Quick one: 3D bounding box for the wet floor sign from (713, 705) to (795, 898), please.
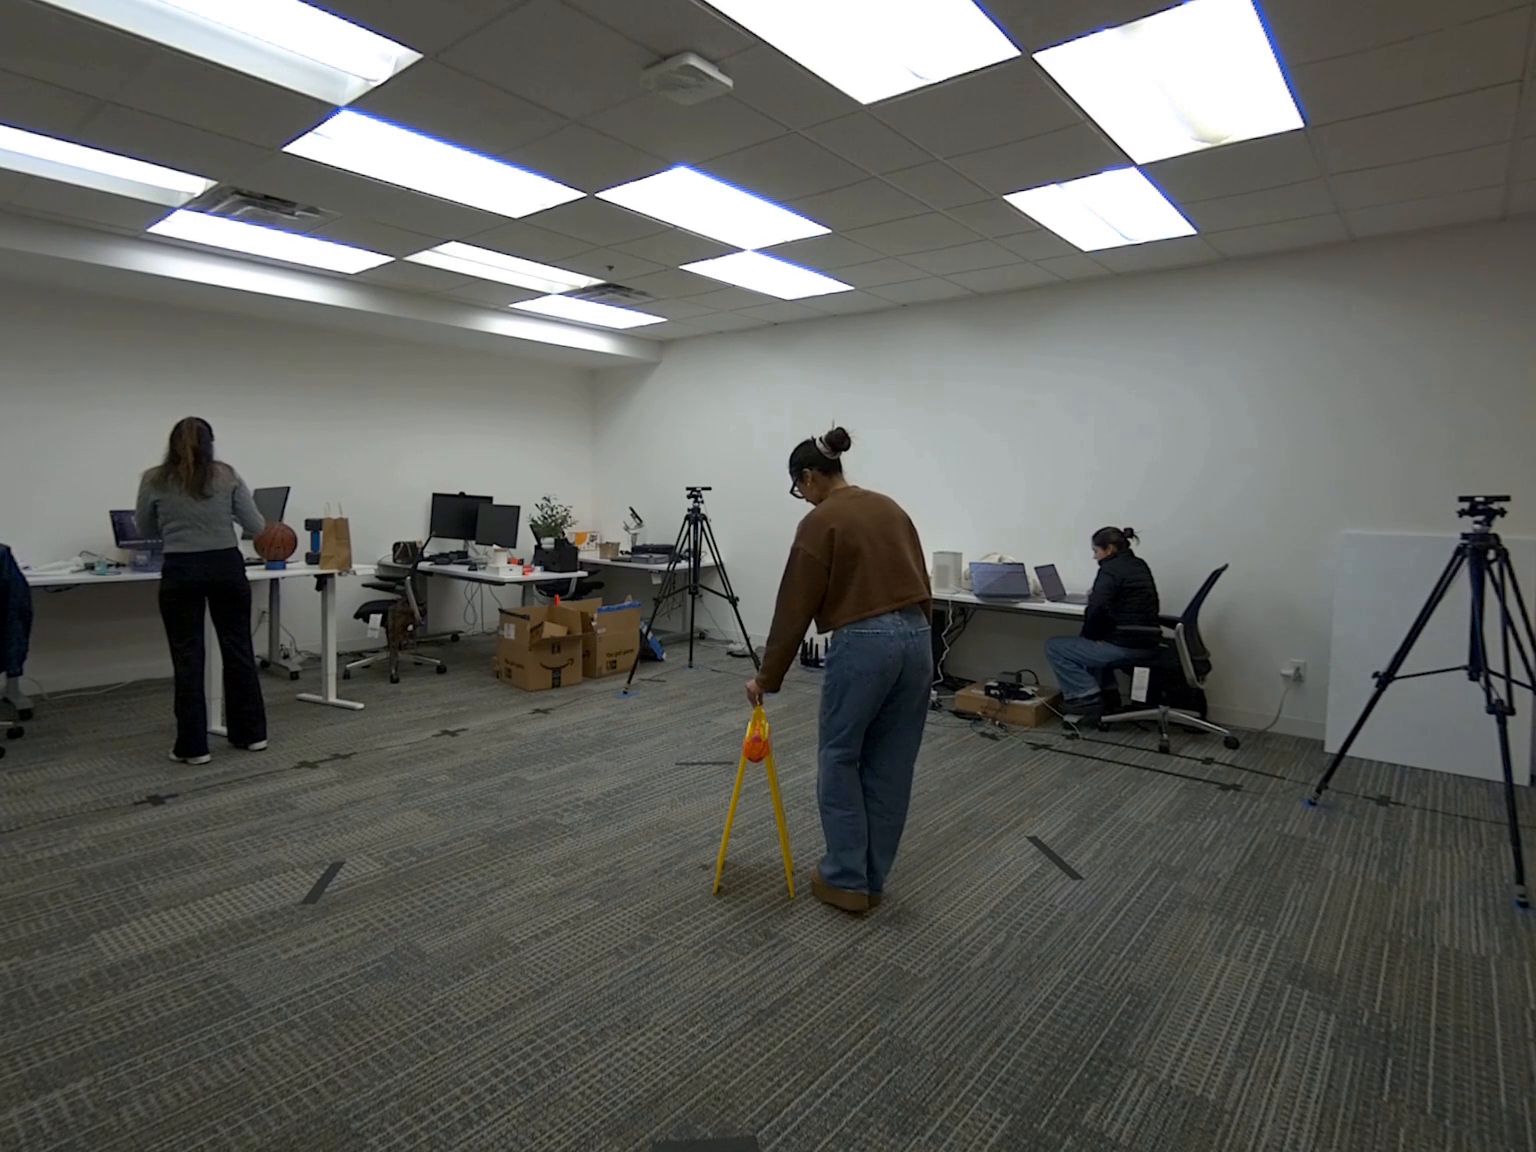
[{"bbox_3d":[-0.046,0.758,3.021,0.291,0.644,0.282,2,3,3],"label":"wet floor sign"}]
